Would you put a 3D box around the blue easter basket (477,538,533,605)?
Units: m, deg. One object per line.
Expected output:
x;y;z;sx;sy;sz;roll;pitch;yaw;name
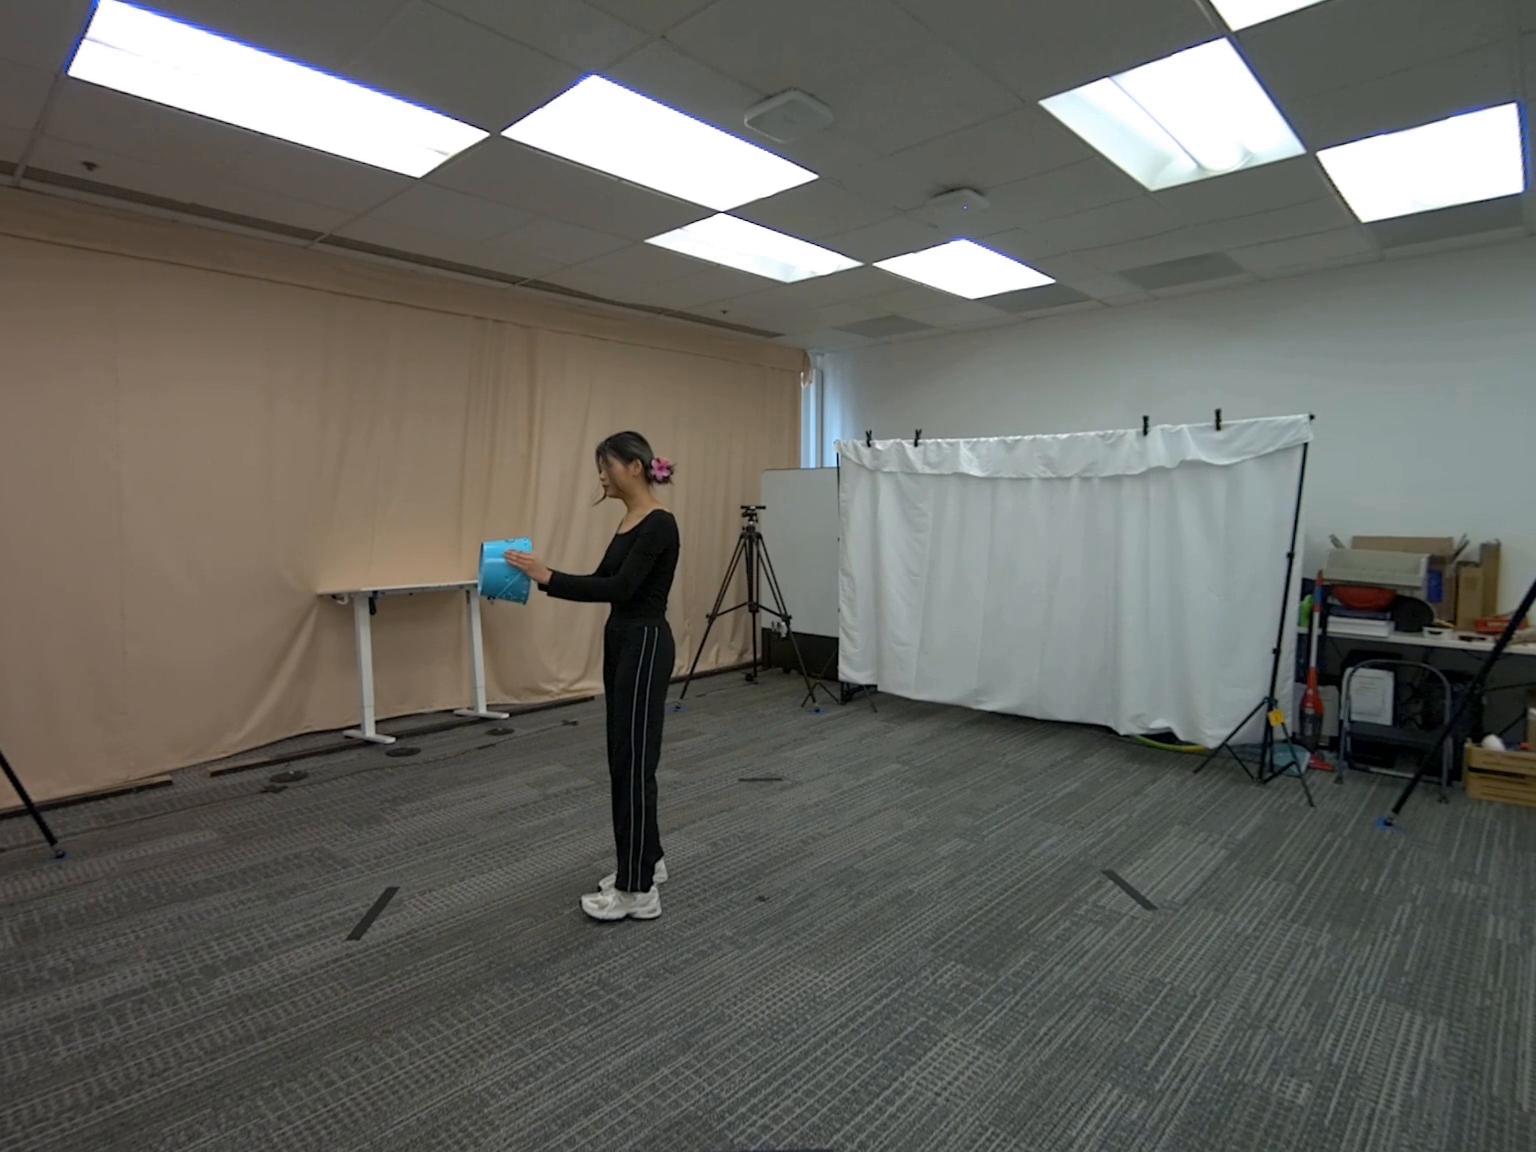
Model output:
-0.890;-0.022;2.853;0.153;0.243;0.249;2;3;-21;blue easter basket
